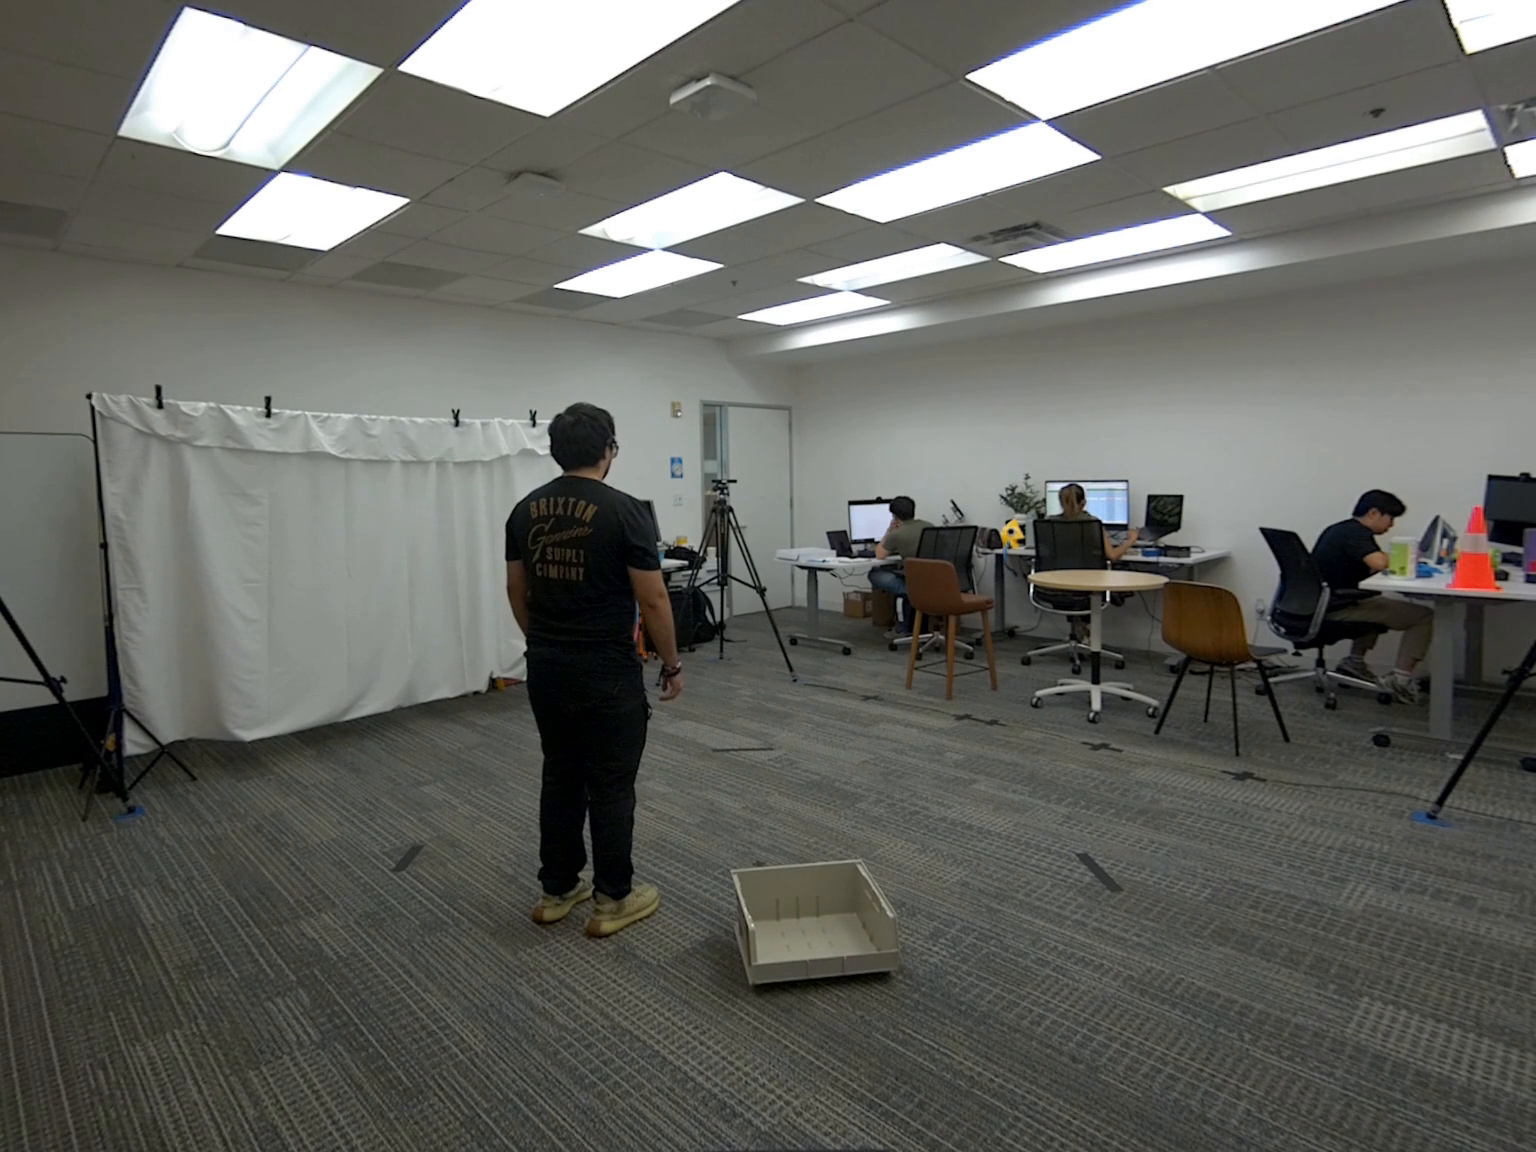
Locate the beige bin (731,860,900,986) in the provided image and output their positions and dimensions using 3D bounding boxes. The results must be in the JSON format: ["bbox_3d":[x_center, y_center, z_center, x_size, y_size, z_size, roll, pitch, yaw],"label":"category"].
[{"bbox_3d":[0.132,1.023,2.507,0.419,0.188,0.381,-2,5,-8],"label":"beige bin"}]
